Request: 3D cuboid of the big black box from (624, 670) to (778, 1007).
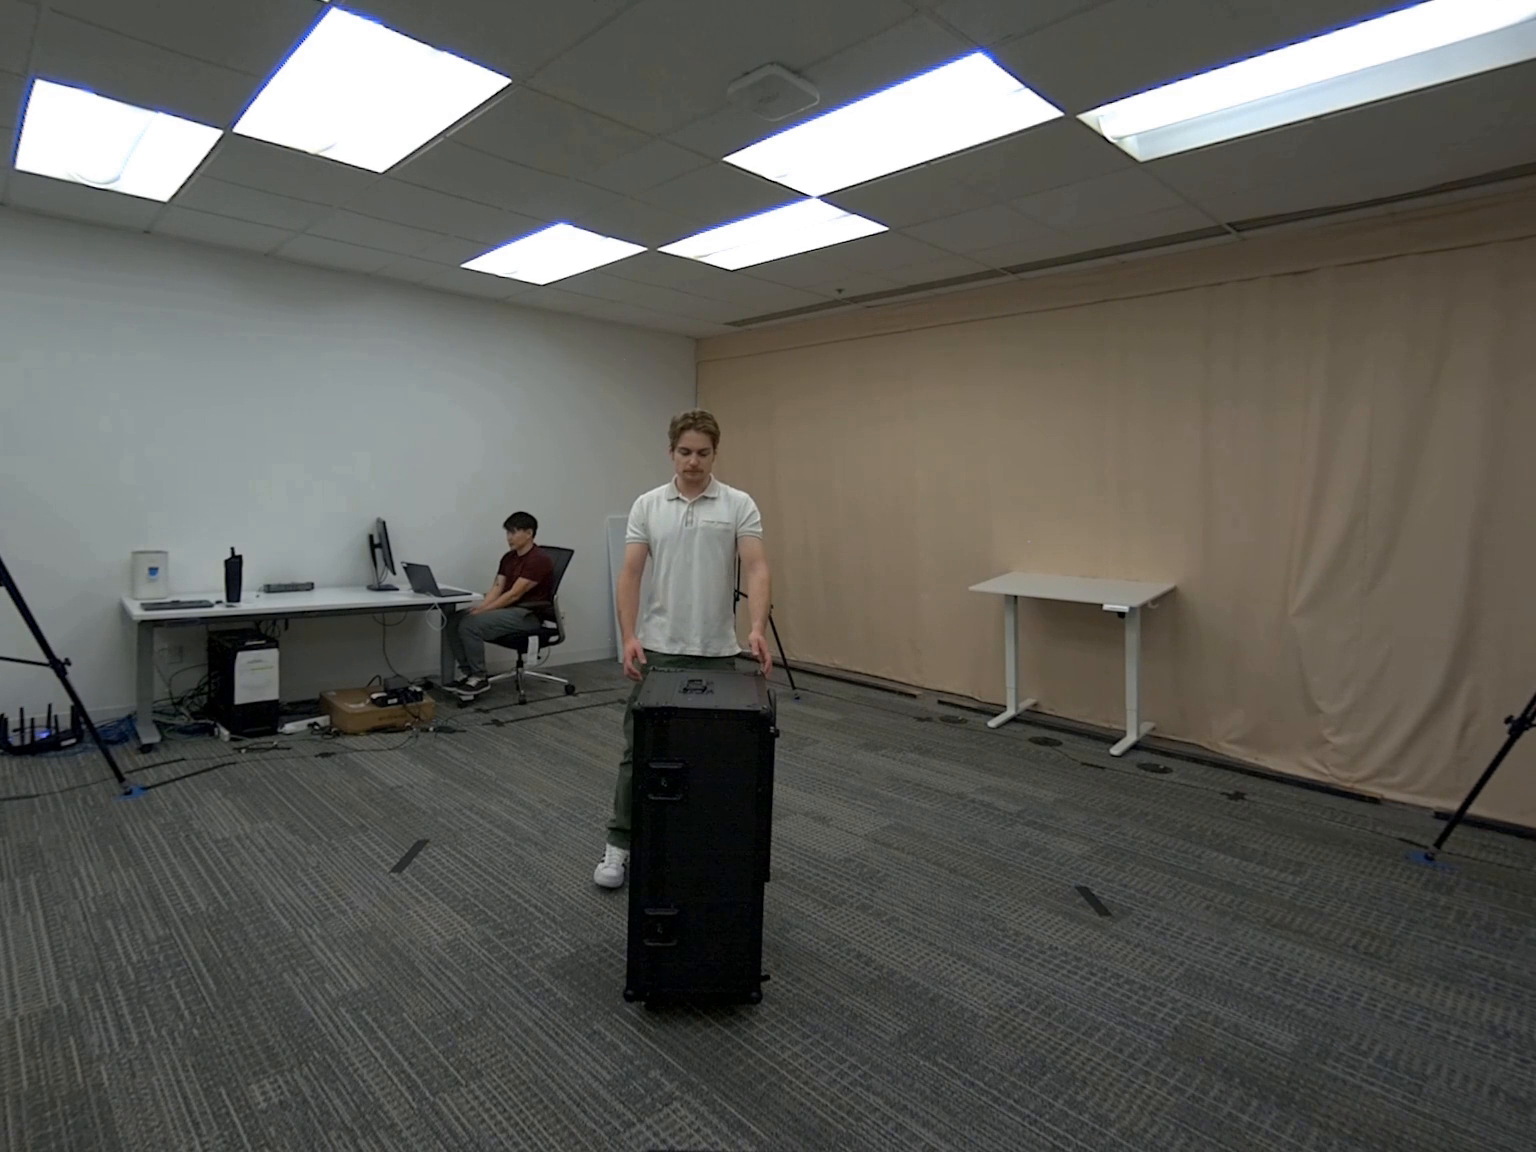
[{"bbox_3d":[-0.201,0.743,2.420,0.385,0.866,0.525,2,4,-2],"label":"big black box"}]
